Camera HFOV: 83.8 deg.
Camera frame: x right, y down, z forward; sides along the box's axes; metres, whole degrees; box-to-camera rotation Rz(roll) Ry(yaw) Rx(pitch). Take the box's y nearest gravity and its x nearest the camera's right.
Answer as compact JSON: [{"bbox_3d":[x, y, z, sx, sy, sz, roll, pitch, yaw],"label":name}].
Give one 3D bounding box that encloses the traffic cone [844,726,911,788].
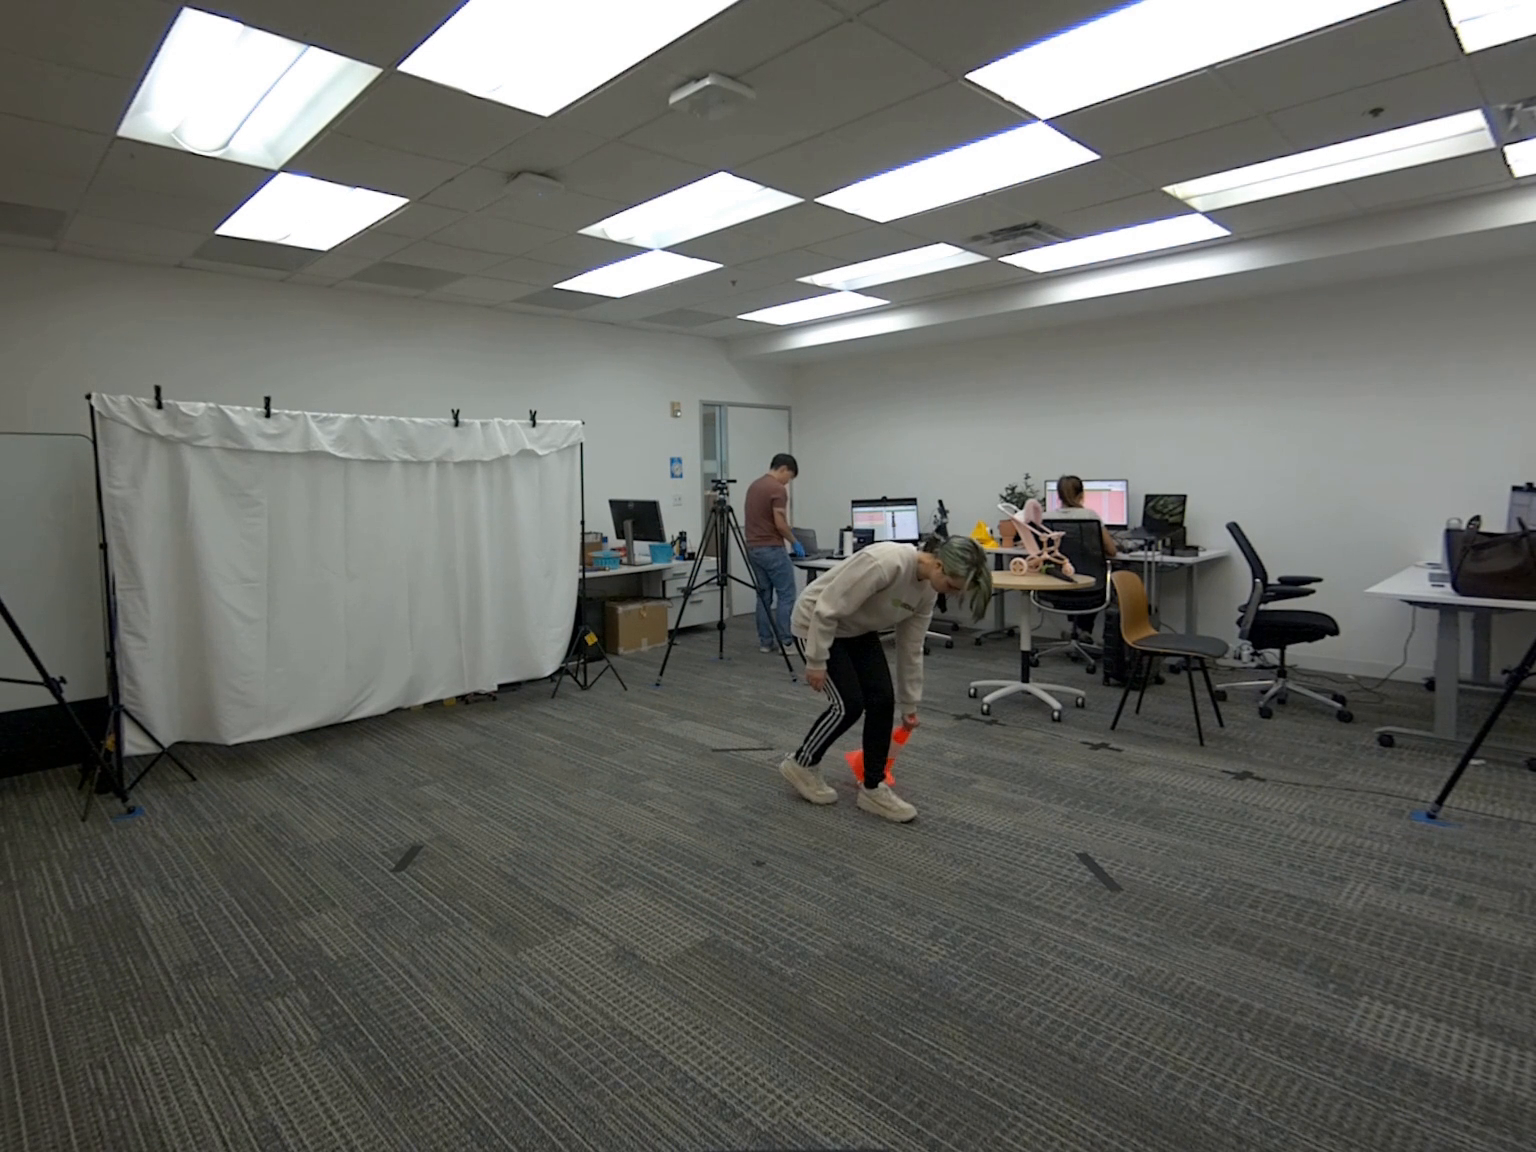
[{"bbox_3d":[0.555,0.756,3.800,0.200,0.210,0.380,3,-43,-30],"label":"traffic cone"}]
